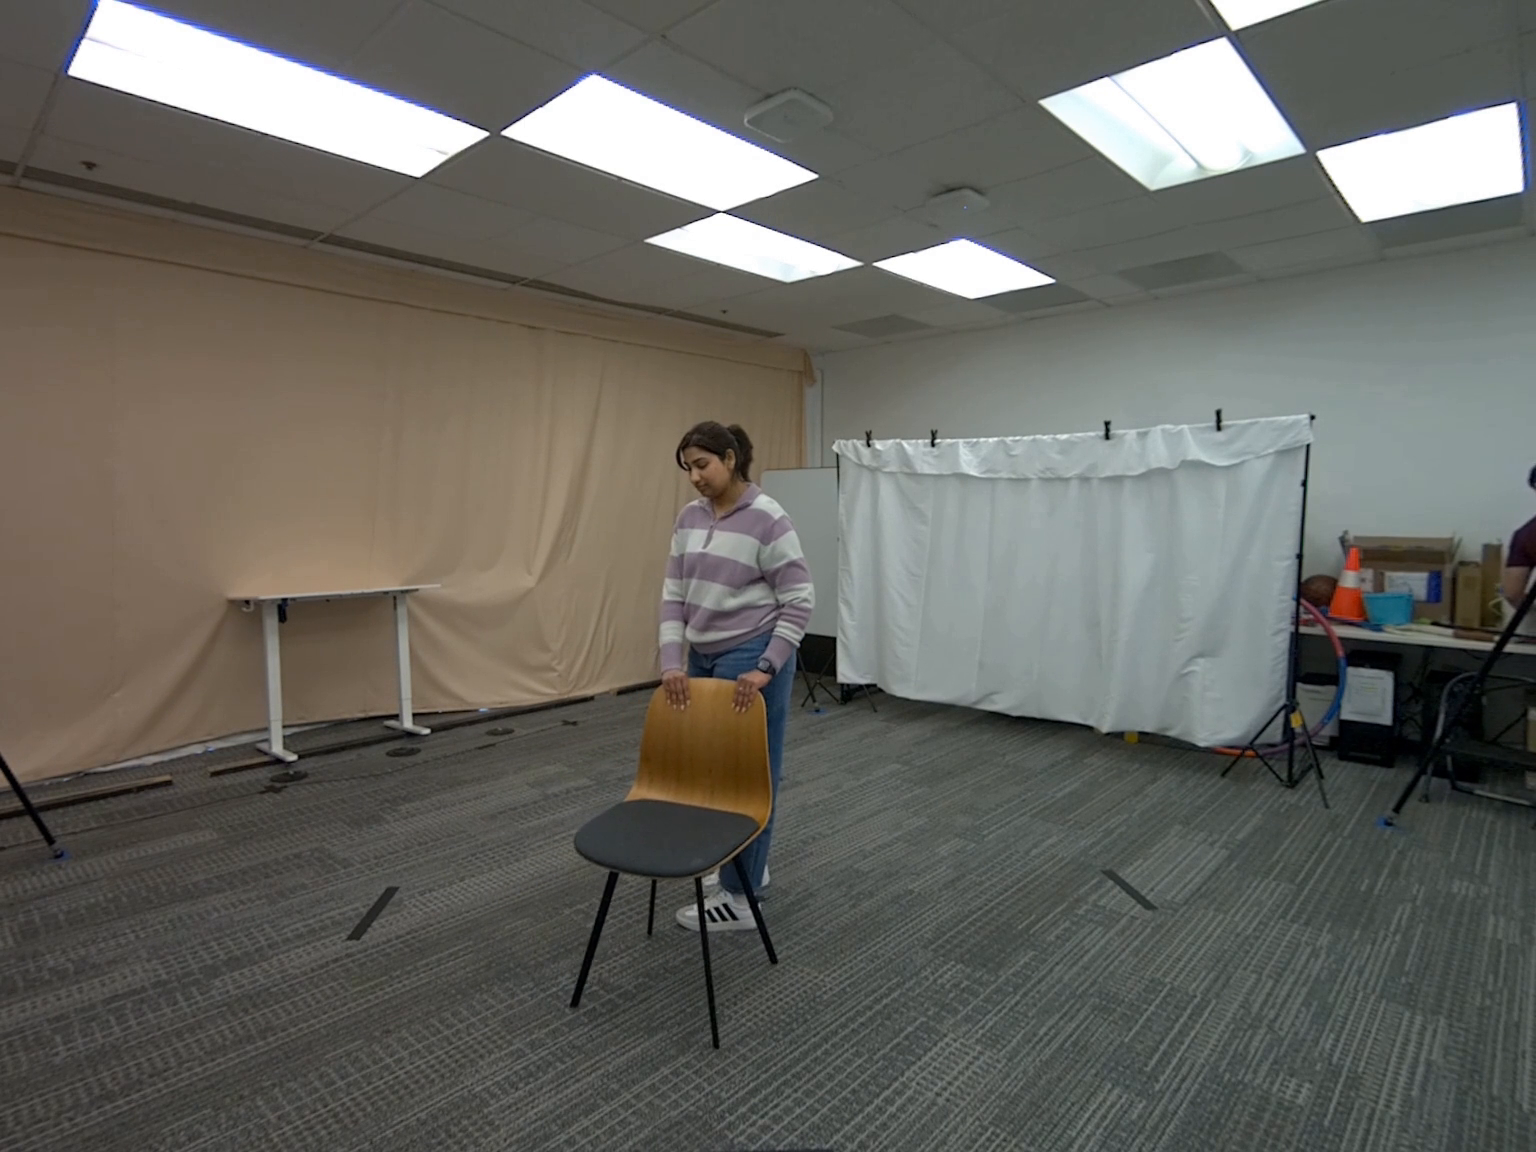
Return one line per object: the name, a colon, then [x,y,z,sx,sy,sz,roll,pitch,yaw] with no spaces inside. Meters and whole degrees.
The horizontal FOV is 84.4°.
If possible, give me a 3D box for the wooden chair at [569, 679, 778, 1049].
wooden chair: [-0.251,0.760,2.415,0.489,0.878,0.510,2,-1,22]
